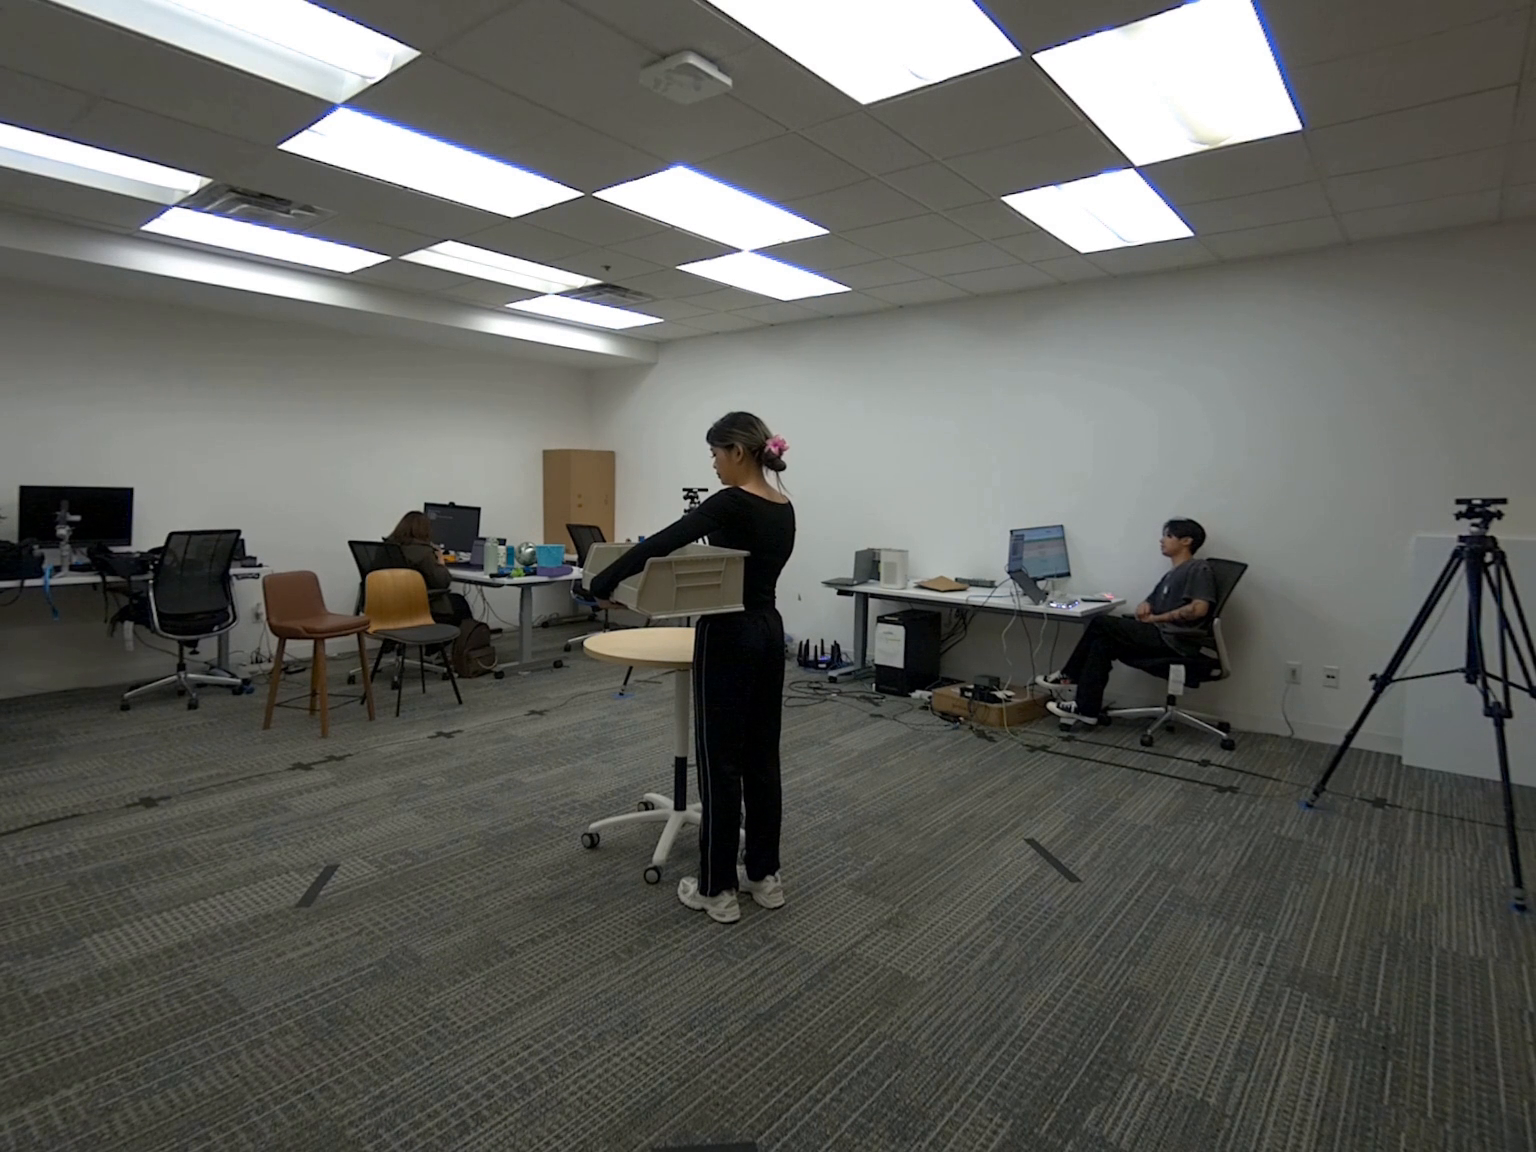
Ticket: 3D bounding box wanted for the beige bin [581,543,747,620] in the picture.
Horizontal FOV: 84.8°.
[{"bbox_3d":[-0.349,0.002,2.654,0.367,0.188,0.436,-3,7,-31],"label":"beige bin"}]
